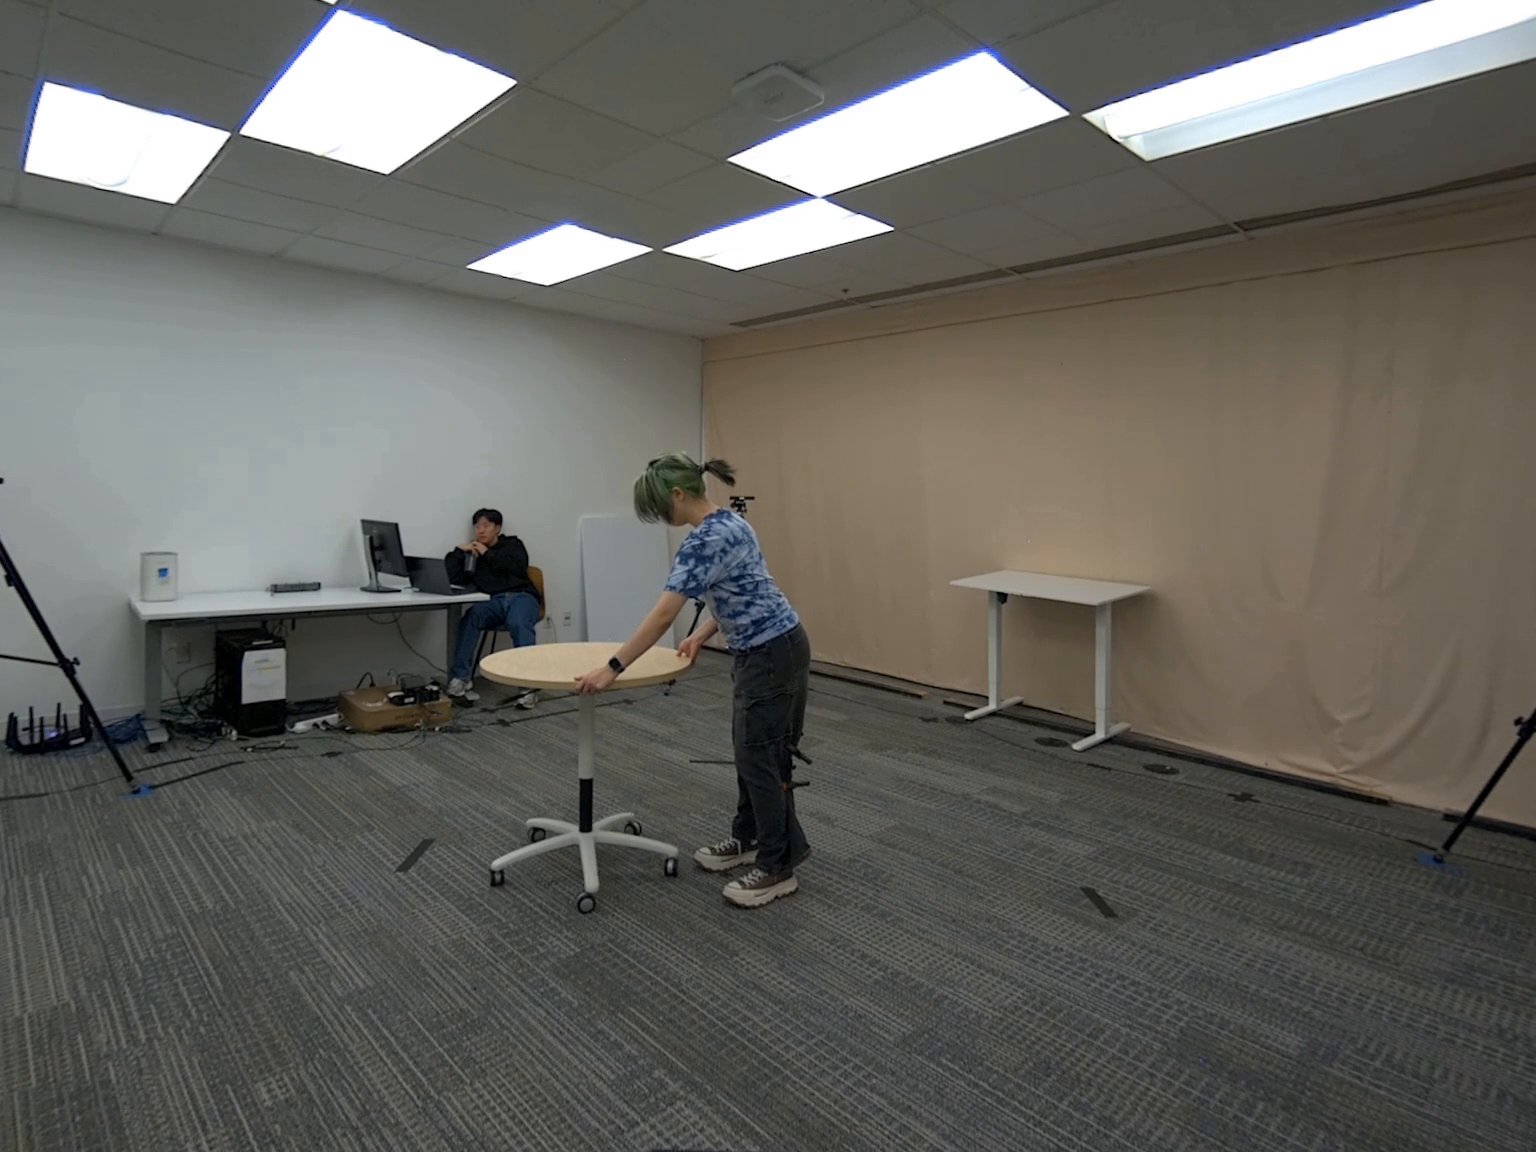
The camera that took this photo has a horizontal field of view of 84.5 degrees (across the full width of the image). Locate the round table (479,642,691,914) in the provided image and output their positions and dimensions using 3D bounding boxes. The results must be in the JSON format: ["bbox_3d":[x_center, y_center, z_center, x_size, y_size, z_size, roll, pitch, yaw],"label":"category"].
[{"bbox_3d":[-0.684,0.702,3.124,0.763,0.792,0.766,1,4,-1],"label":"round table"}]
